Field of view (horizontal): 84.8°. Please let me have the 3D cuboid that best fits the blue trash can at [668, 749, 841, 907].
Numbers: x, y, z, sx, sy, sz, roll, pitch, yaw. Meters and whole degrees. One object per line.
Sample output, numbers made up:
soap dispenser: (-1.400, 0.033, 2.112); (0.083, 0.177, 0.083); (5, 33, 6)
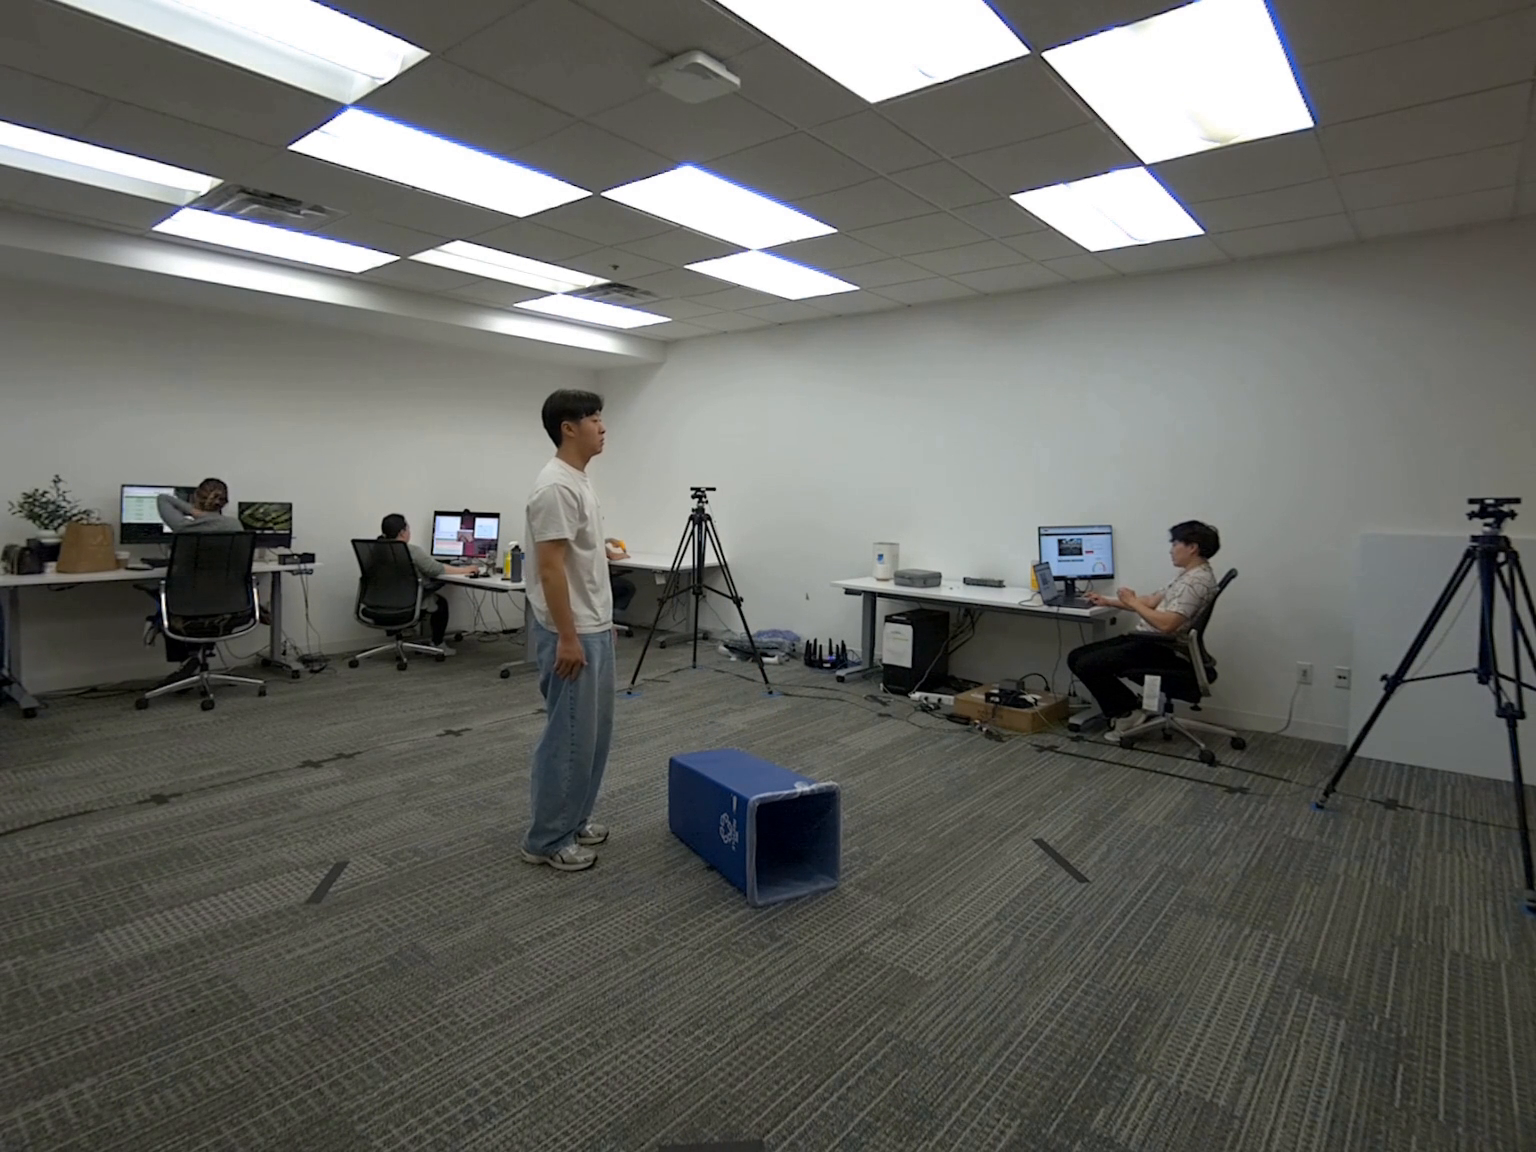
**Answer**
blue trash can: (-0.095, 0.895, 3.197); (0.368, 0.374, 0.734); (-2, 3, -31)
